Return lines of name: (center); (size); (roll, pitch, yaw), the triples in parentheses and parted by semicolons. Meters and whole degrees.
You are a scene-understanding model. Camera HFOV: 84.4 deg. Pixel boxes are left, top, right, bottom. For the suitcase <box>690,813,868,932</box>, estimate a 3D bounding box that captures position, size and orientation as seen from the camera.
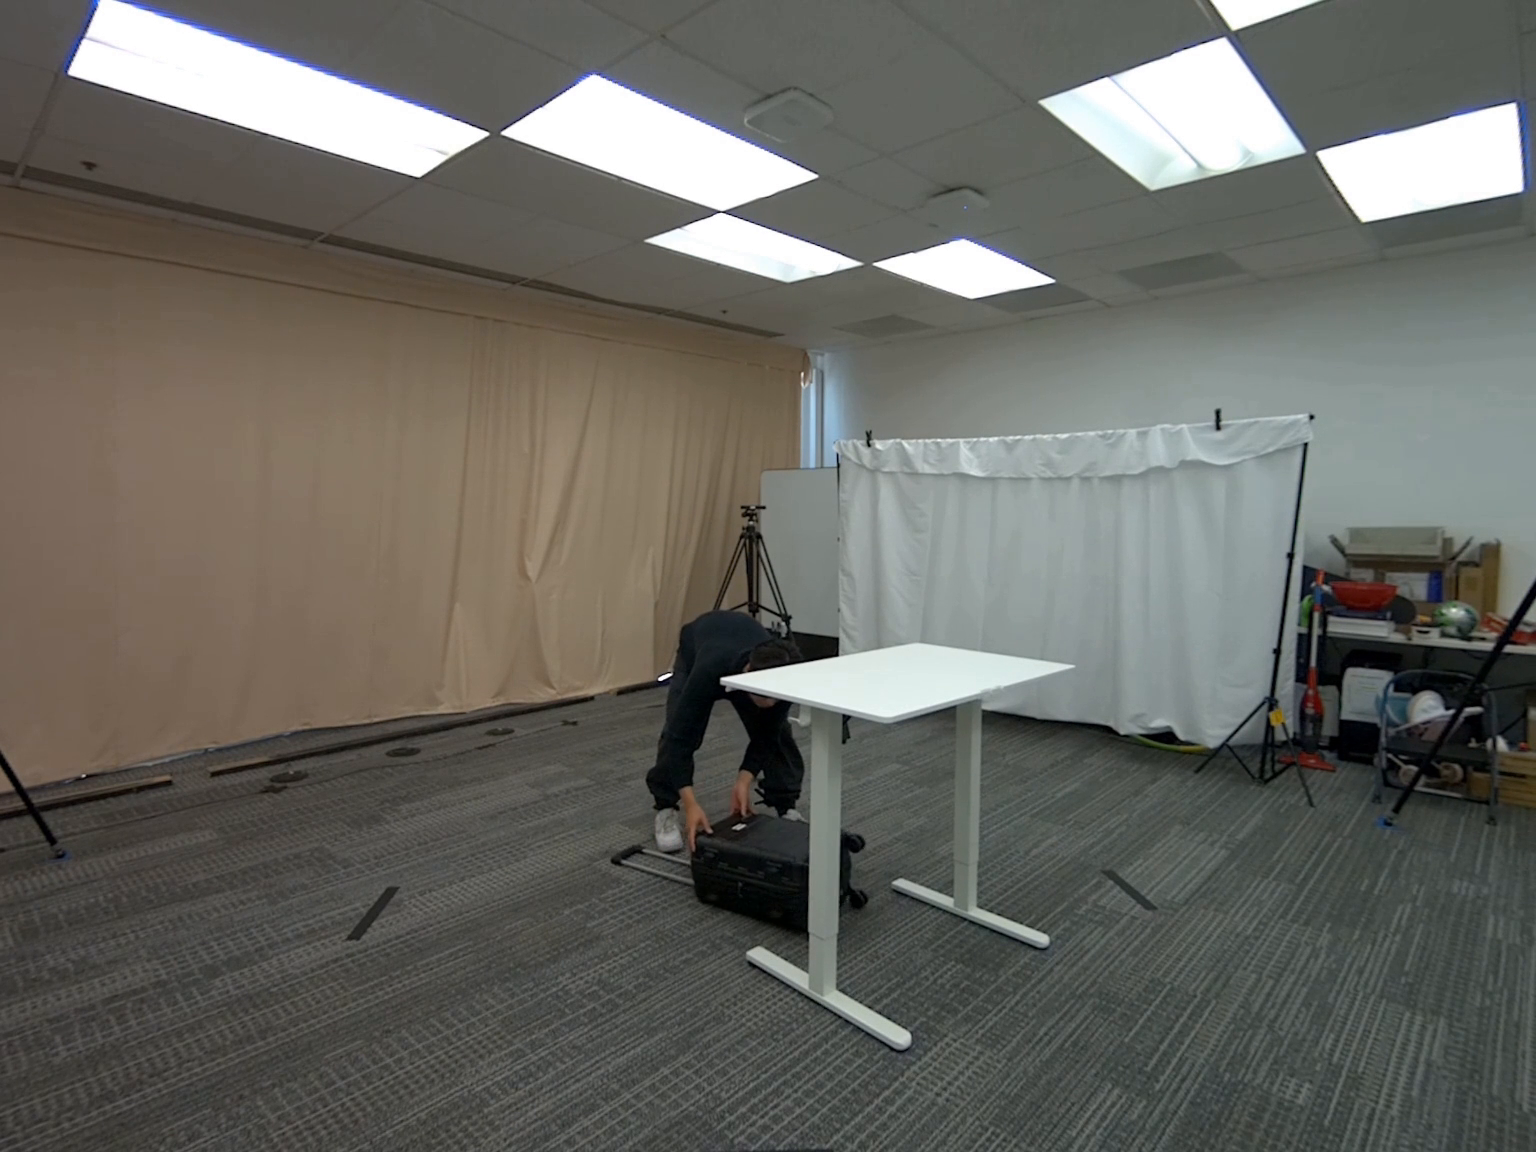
suitcase: (-0.148, 1.012, 3.064); (1.009, 0.256, 0.373); (3, 7, 34)
